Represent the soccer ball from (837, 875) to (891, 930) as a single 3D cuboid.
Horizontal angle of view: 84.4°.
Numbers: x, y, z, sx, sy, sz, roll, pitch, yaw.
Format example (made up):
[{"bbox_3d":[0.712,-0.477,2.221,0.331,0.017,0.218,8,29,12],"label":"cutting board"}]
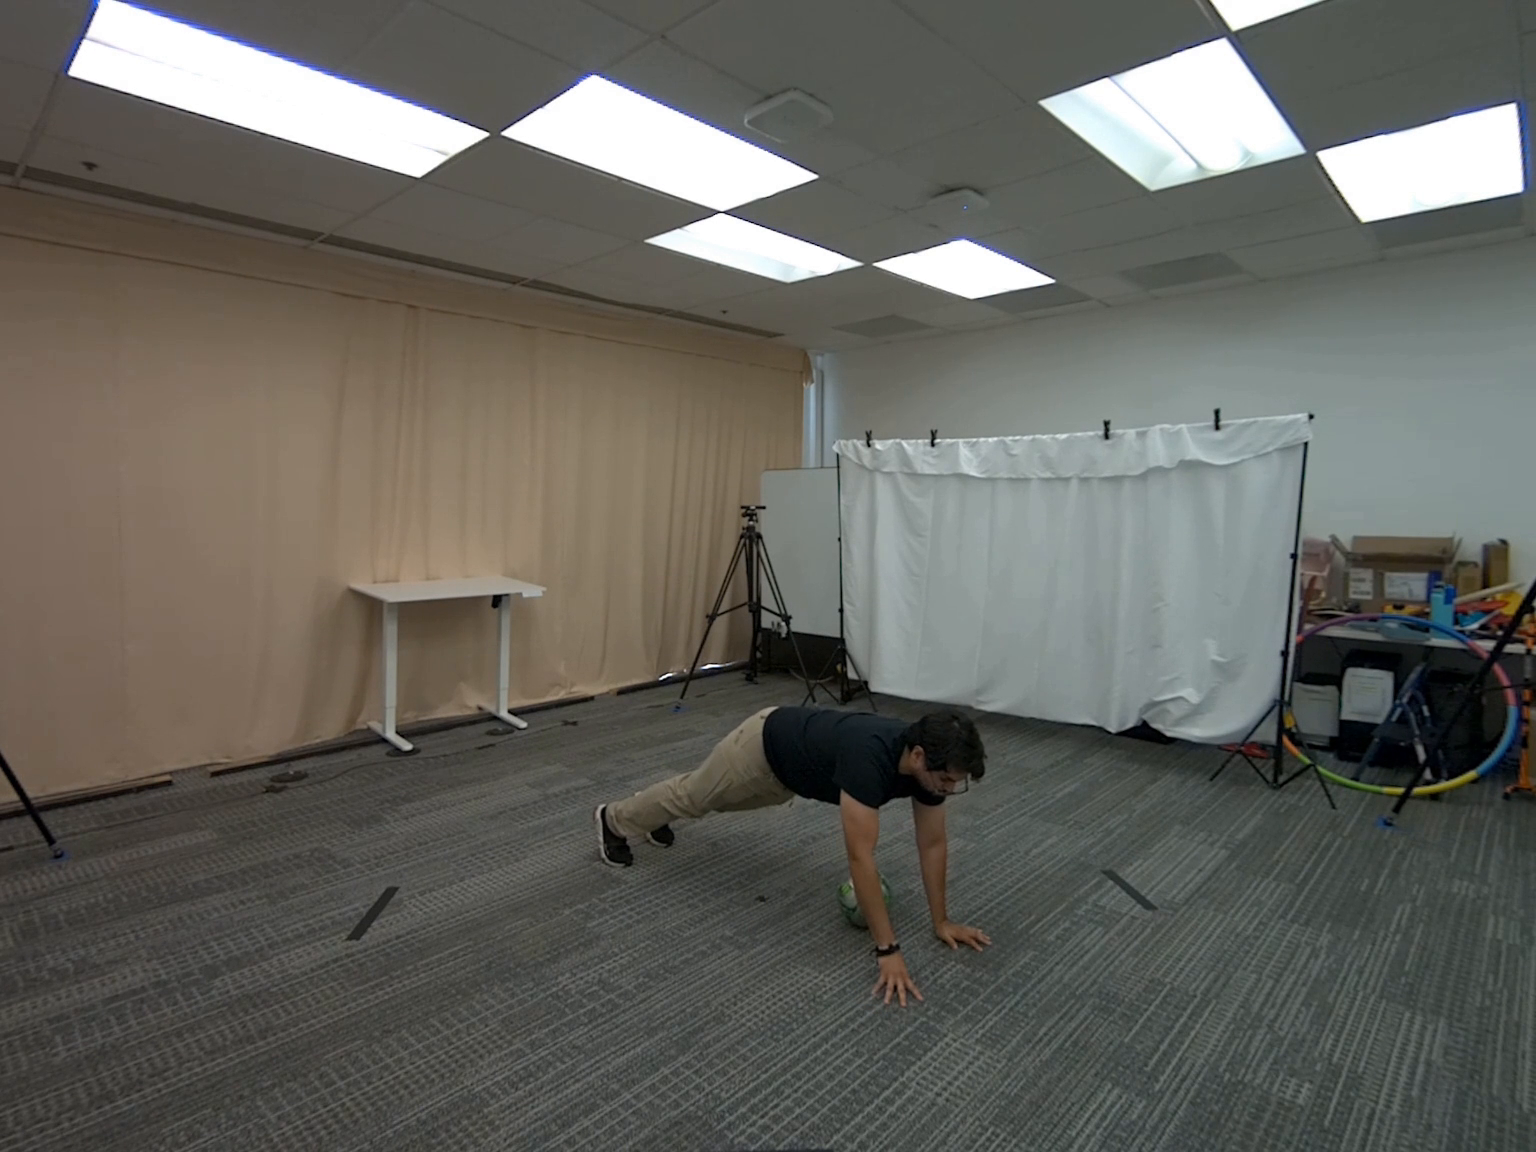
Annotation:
[{"bbox_3d":[0.331,1.071,2.804,0.187,0.187,0.188,0,4,-2],"label":"soccer ball"}]
